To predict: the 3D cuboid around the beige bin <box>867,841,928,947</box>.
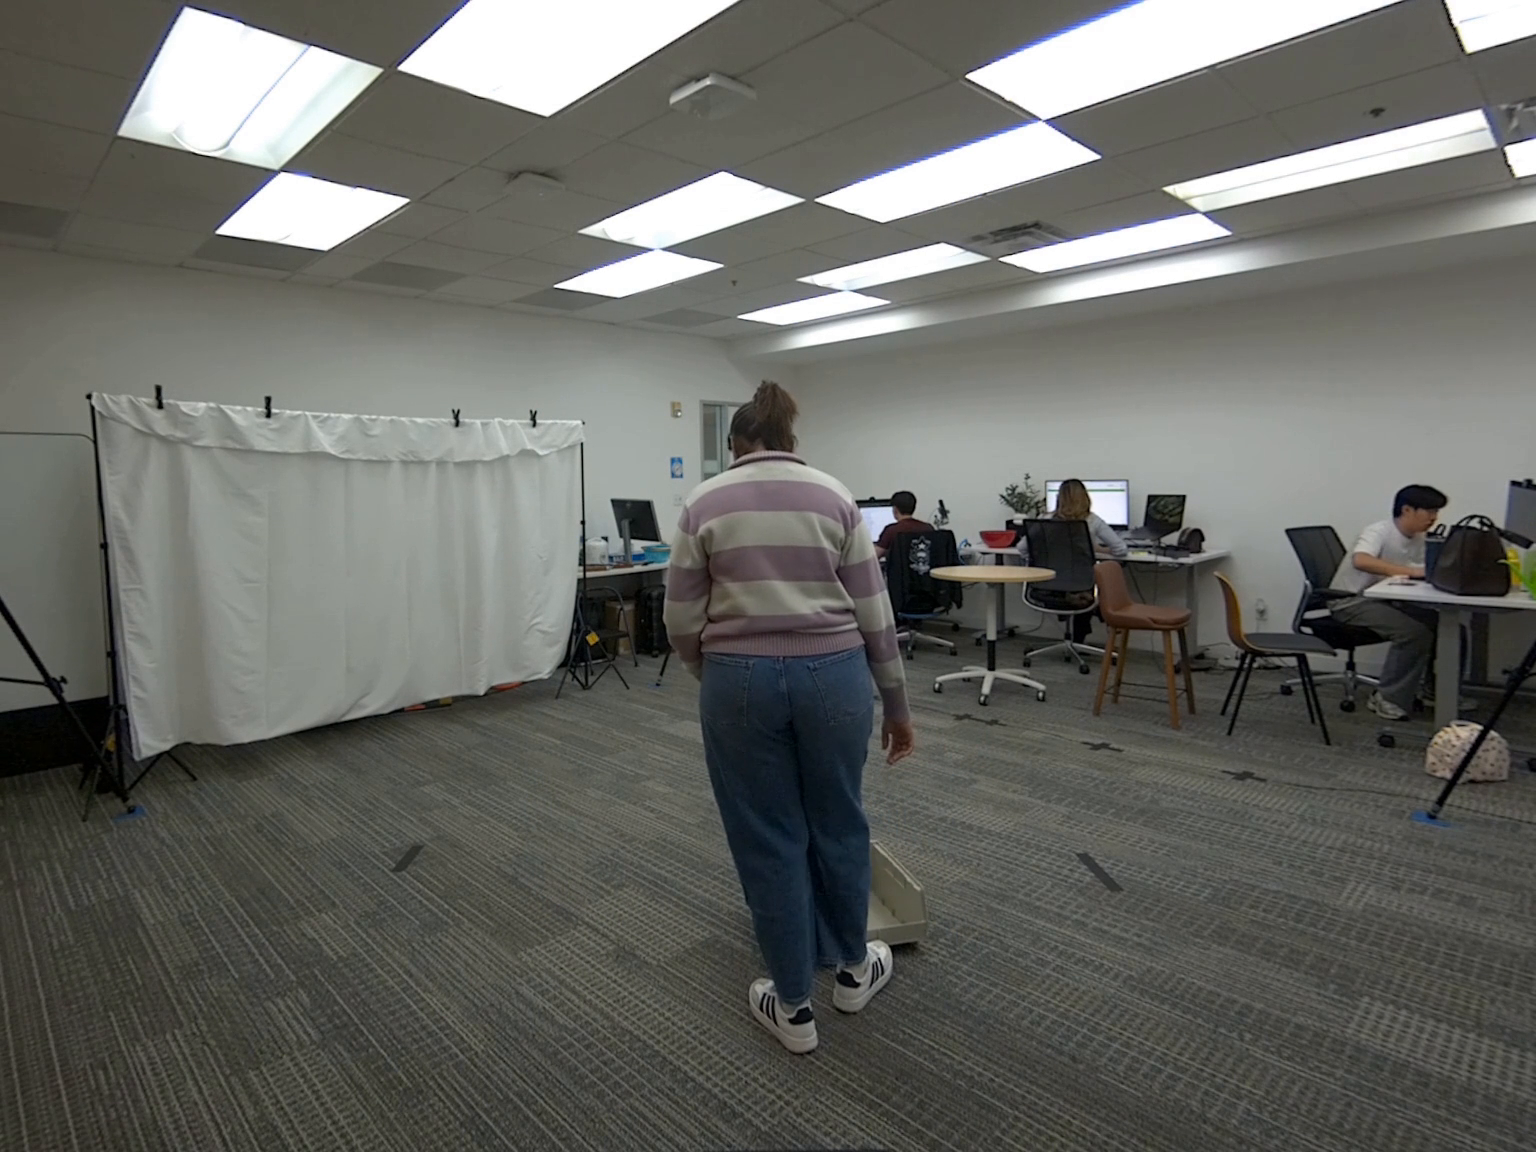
[{"bbox_3d":[0.233,1.007,2.638,0.417,0.188,0.384,-3,5,-15],"label":"beige bin"}]
